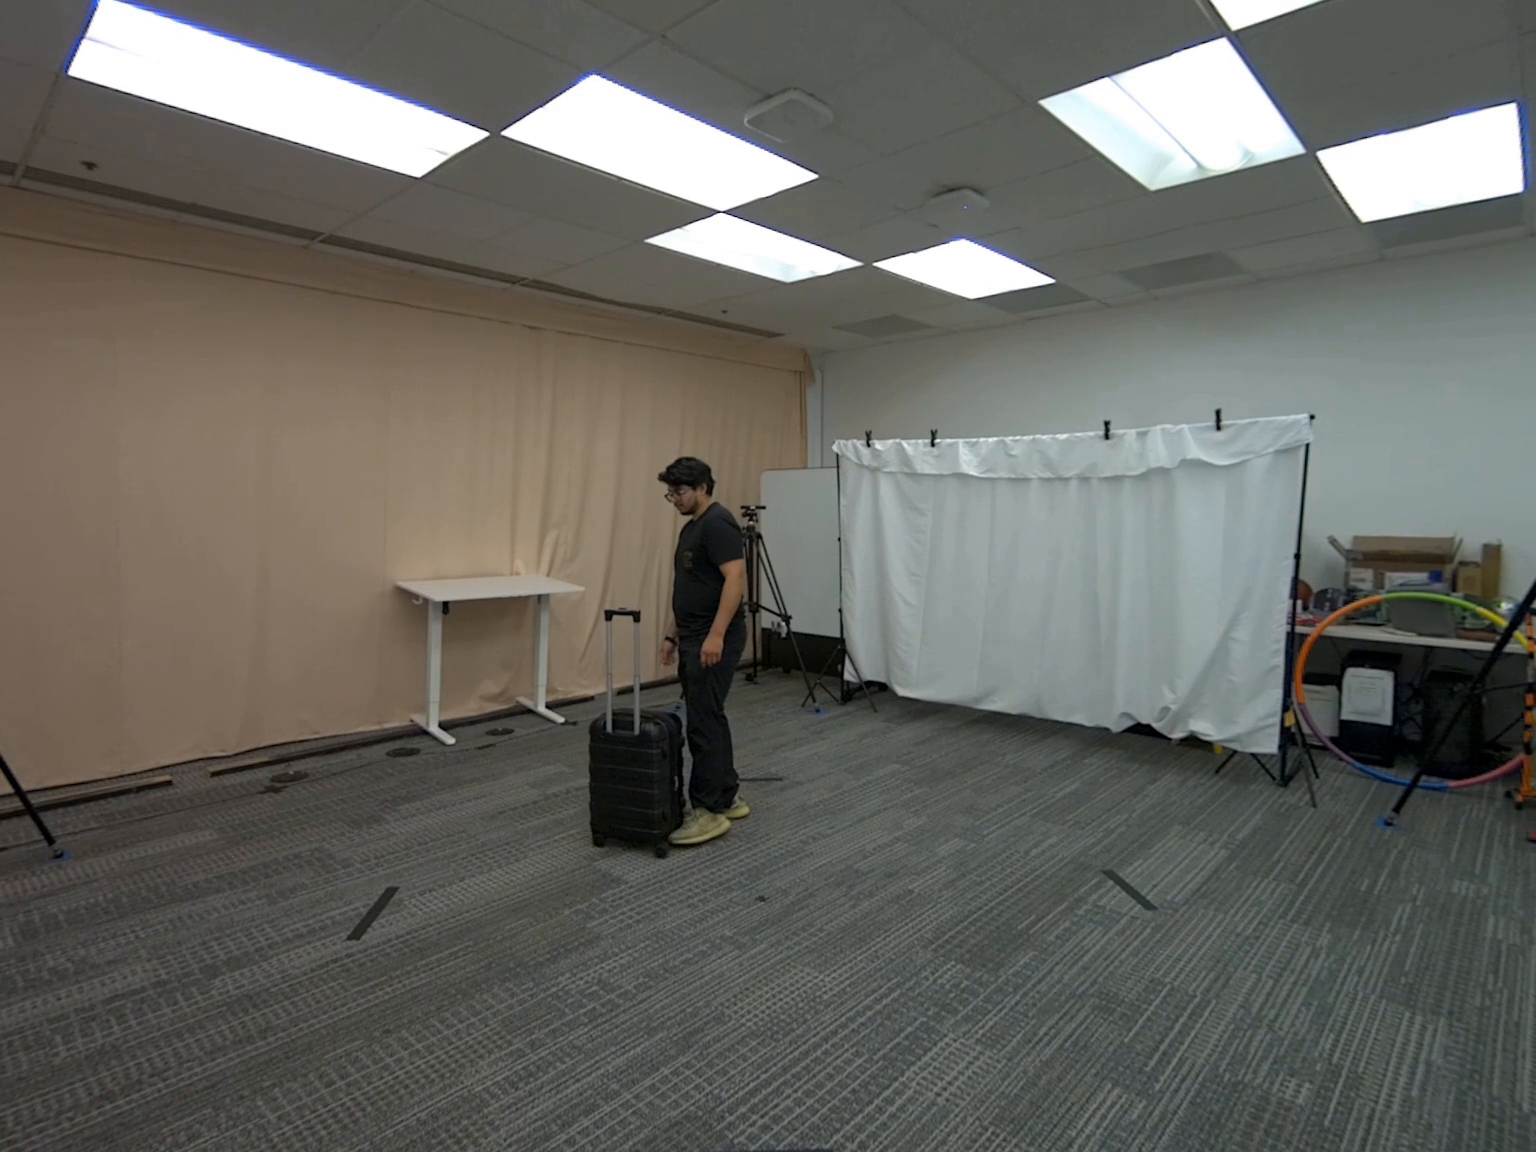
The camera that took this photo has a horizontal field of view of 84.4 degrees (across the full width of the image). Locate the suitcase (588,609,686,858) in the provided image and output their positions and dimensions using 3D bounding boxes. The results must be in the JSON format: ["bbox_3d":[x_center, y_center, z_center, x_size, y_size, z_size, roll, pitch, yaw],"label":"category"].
[{"bbox_3d":[-0.551,0.624,3.488,0.392,0.978,0.251,1,1,21],"label":"suitcase"}]
